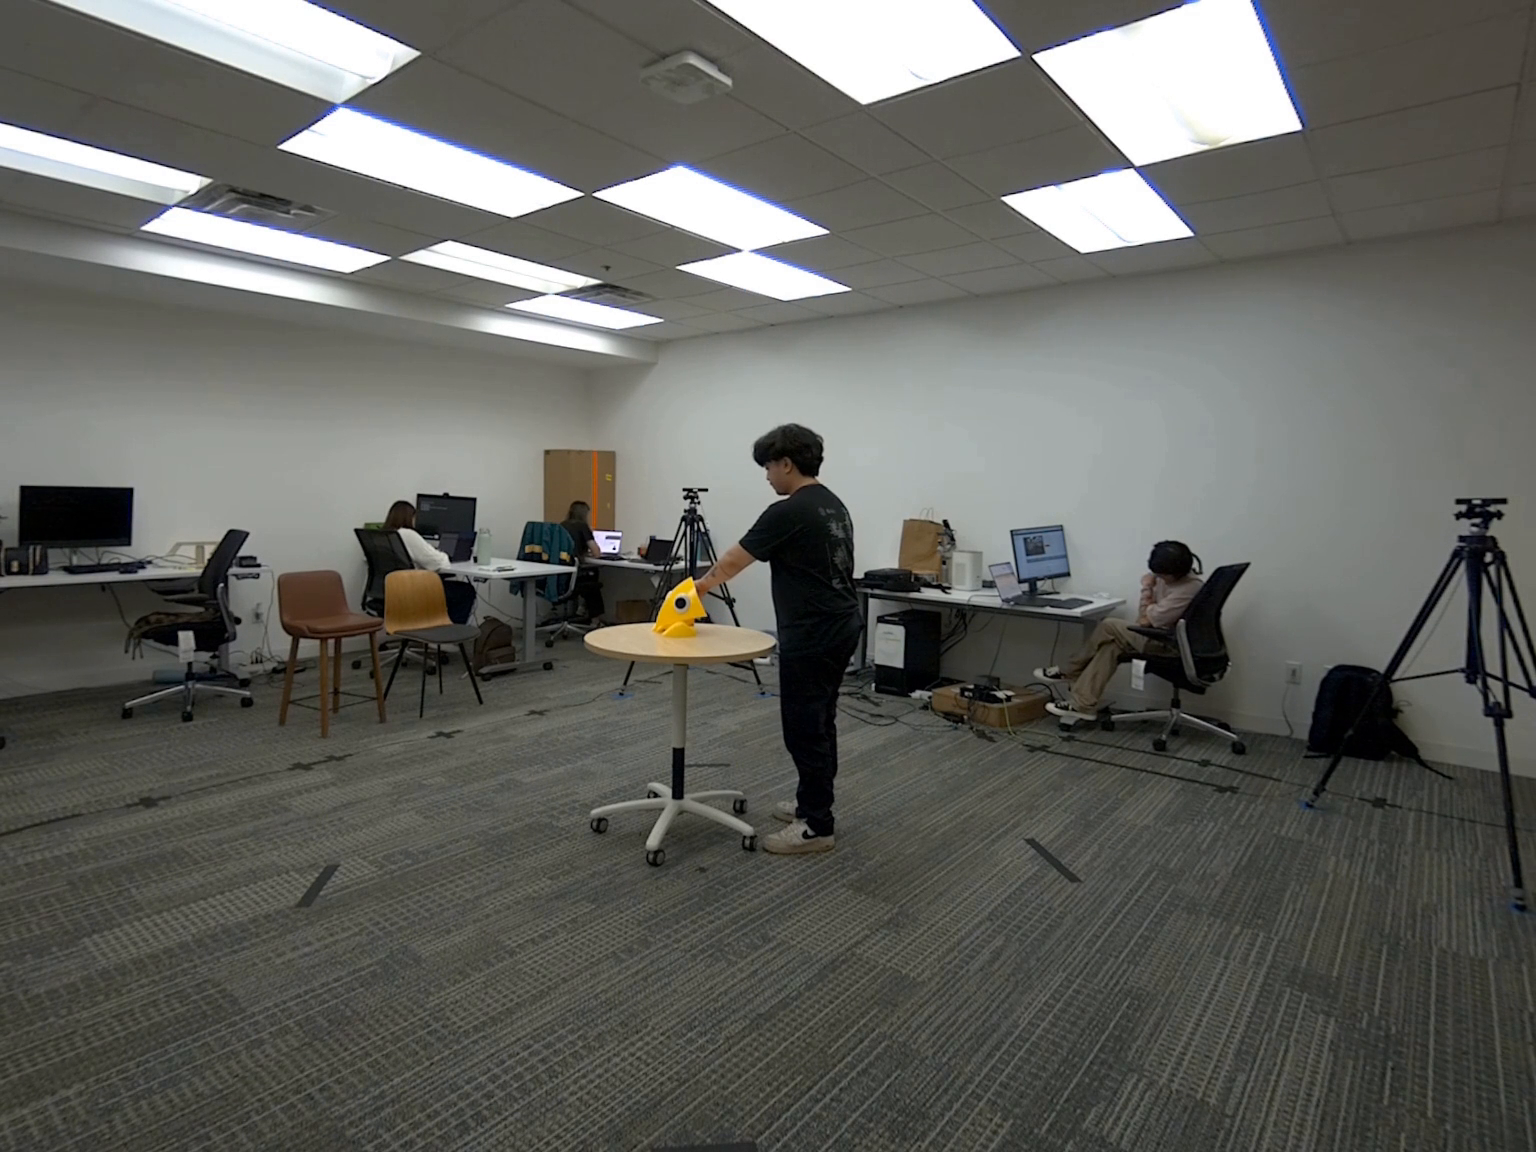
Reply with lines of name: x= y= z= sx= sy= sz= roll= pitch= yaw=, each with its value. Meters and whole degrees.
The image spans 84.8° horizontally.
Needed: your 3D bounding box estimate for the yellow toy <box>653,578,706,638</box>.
yellow toy: x=-0.386 y=0.118 z=3.527 sx=0.188 sy=0.230 sz=0.210 roll=-1 pitch=5 yaw=-26
